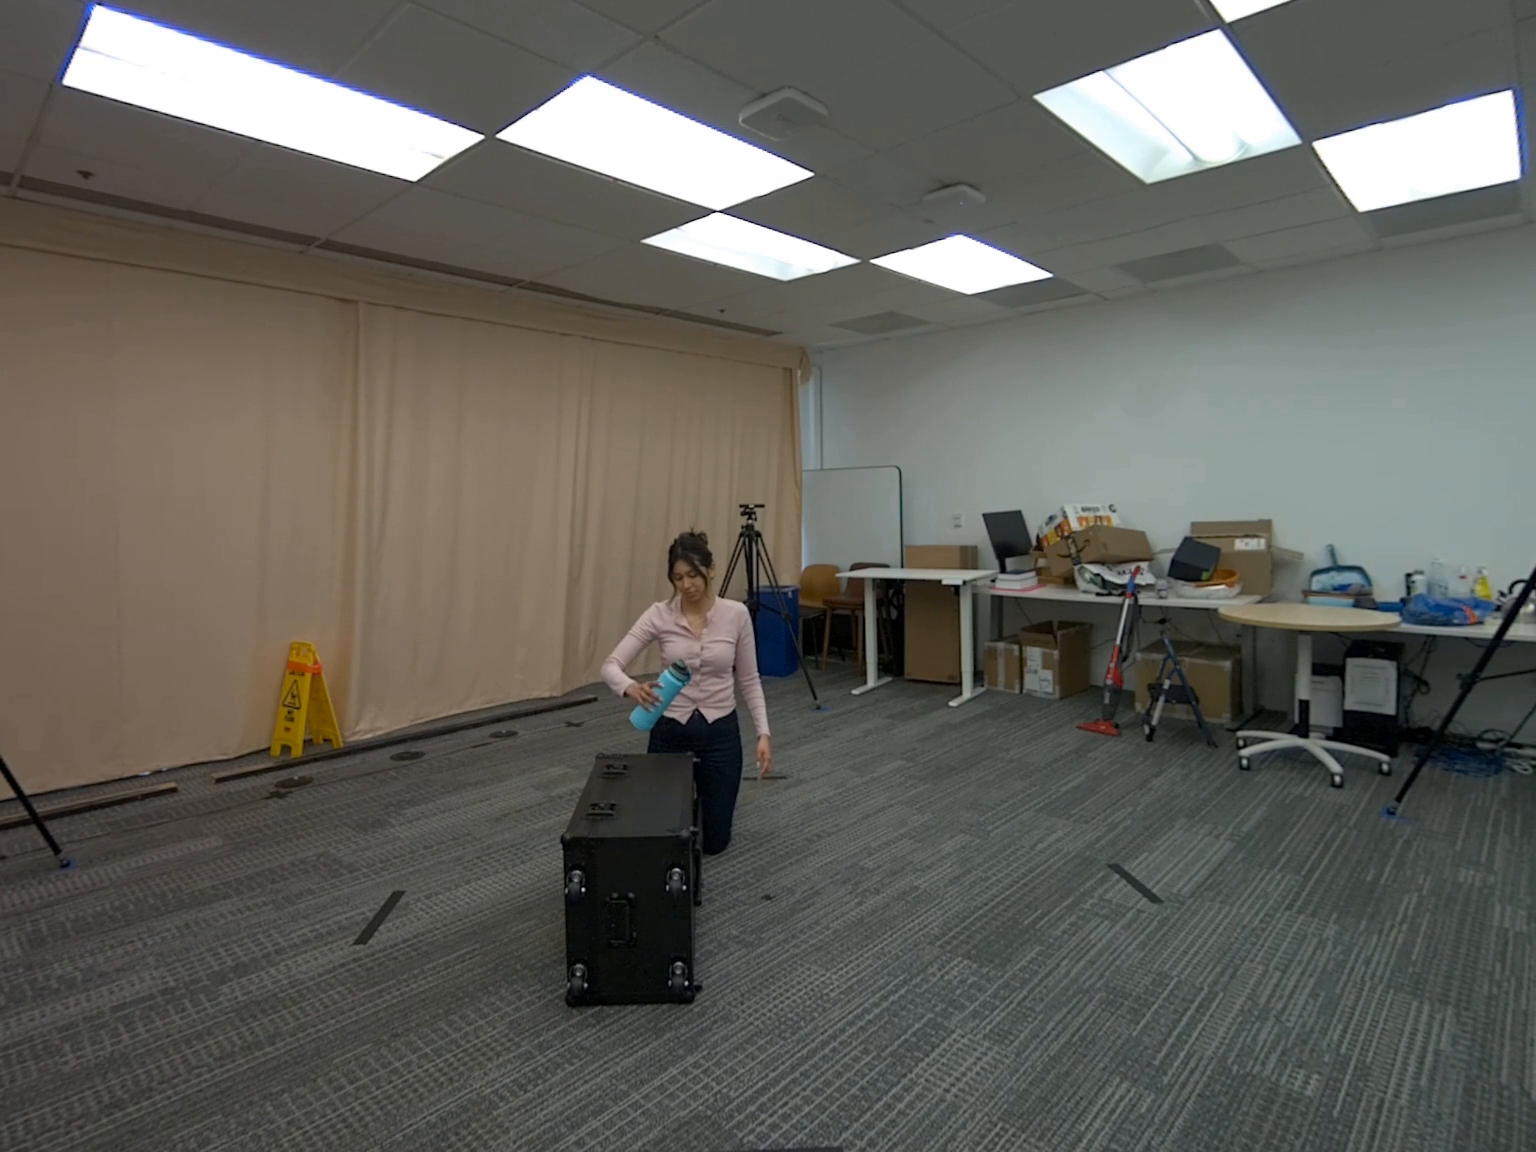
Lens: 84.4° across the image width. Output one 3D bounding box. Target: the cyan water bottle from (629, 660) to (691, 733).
[{"bbox_3d":[-0.384,0.426,3.005,0.091,0.284,0.093,36,9,-9],"label":"cyan water bottle"}]
